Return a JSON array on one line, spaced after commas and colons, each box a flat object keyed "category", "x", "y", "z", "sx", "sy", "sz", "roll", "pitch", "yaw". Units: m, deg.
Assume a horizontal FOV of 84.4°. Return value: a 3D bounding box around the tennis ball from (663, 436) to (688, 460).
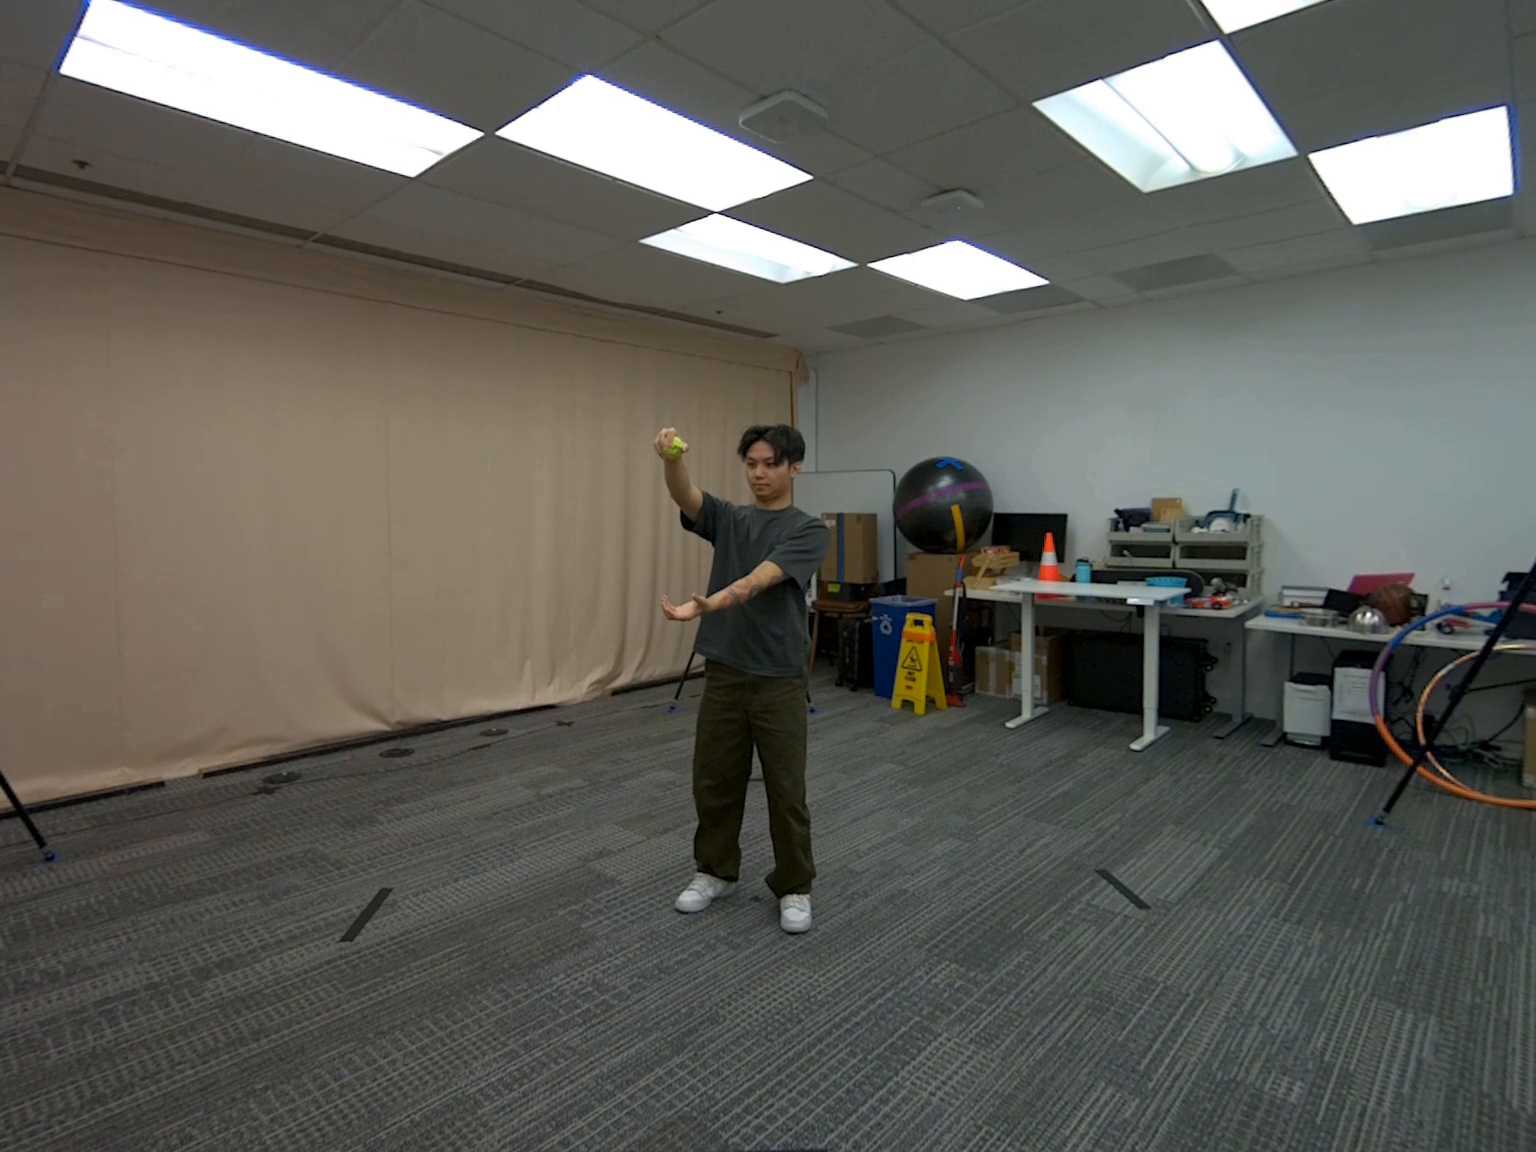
[{"category": "tennis ball", "x": -0.287, "y": -0.394, "z": 2.469, "sx": 0.066, "sy": 0.066, "sz": 0.067, "roll": 0, "pitch": 4, "yaw": -2}]
